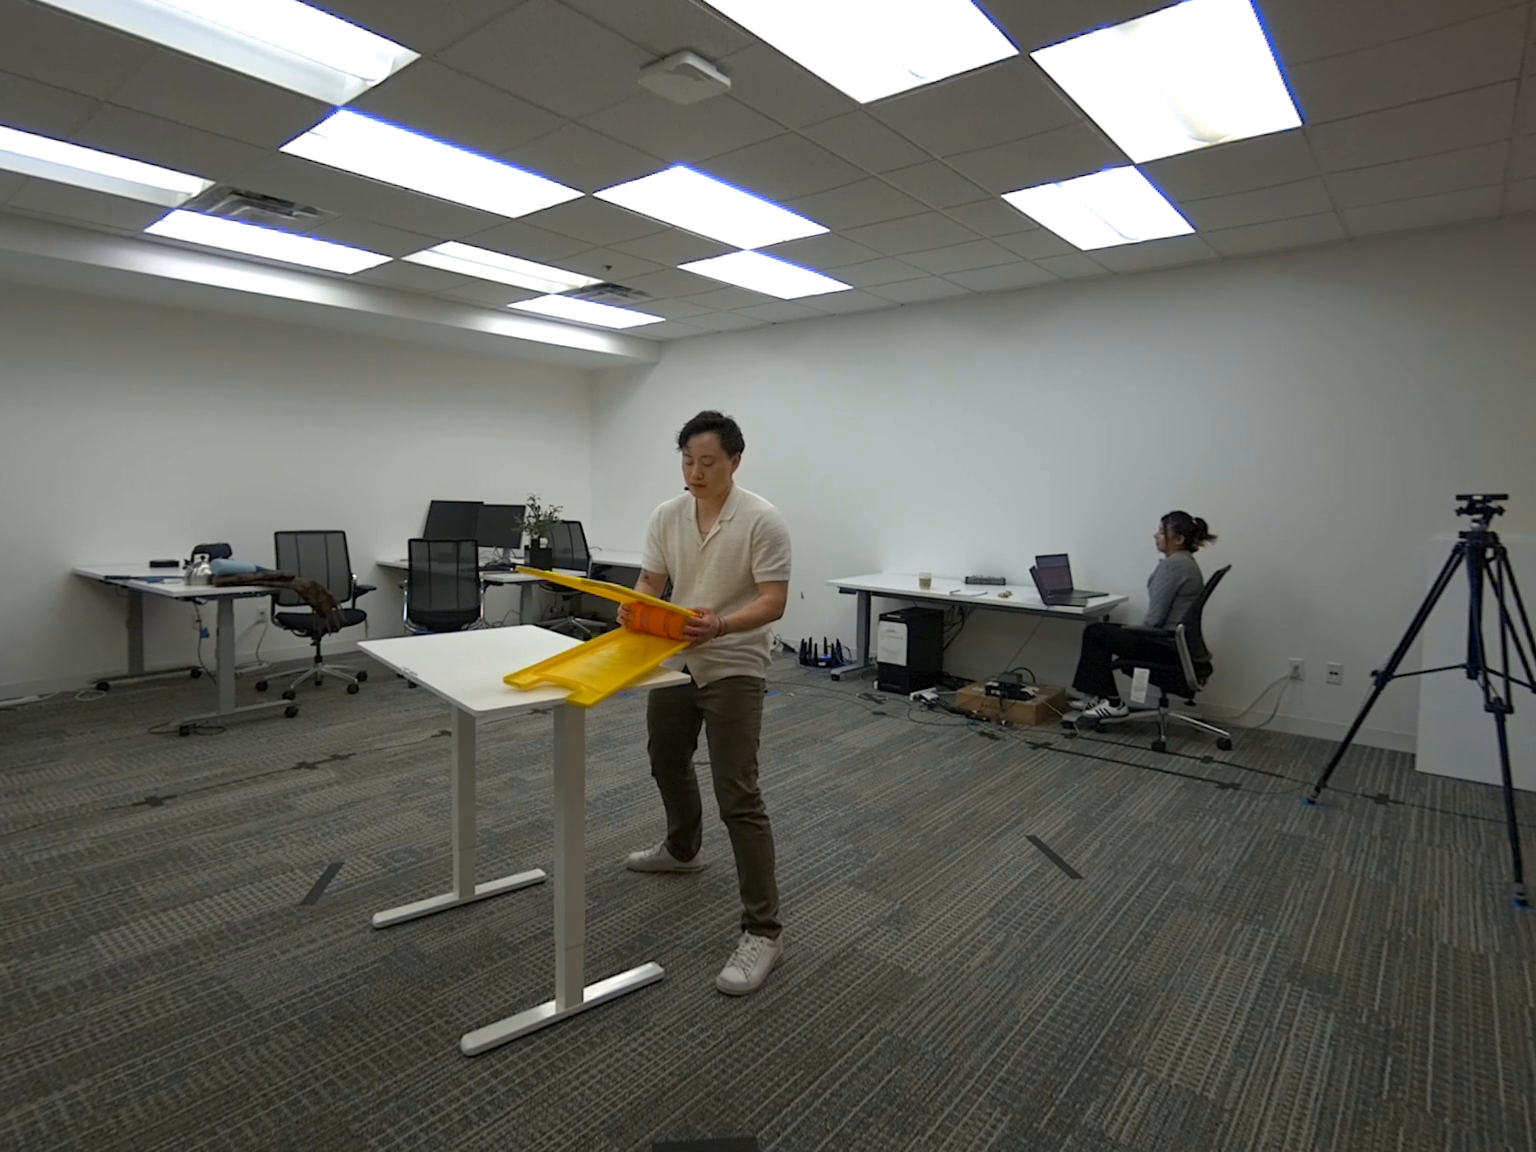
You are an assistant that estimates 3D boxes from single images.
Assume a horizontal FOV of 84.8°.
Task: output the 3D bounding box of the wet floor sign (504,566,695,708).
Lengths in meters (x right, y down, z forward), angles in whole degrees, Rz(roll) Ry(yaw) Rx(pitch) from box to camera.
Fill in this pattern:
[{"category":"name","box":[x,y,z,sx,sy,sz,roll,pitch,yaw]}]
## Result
[{"category":"wet floor sign","box":[-0.393,0.130,2.328,0.290,0.289,0.630,8,5,26]}]
